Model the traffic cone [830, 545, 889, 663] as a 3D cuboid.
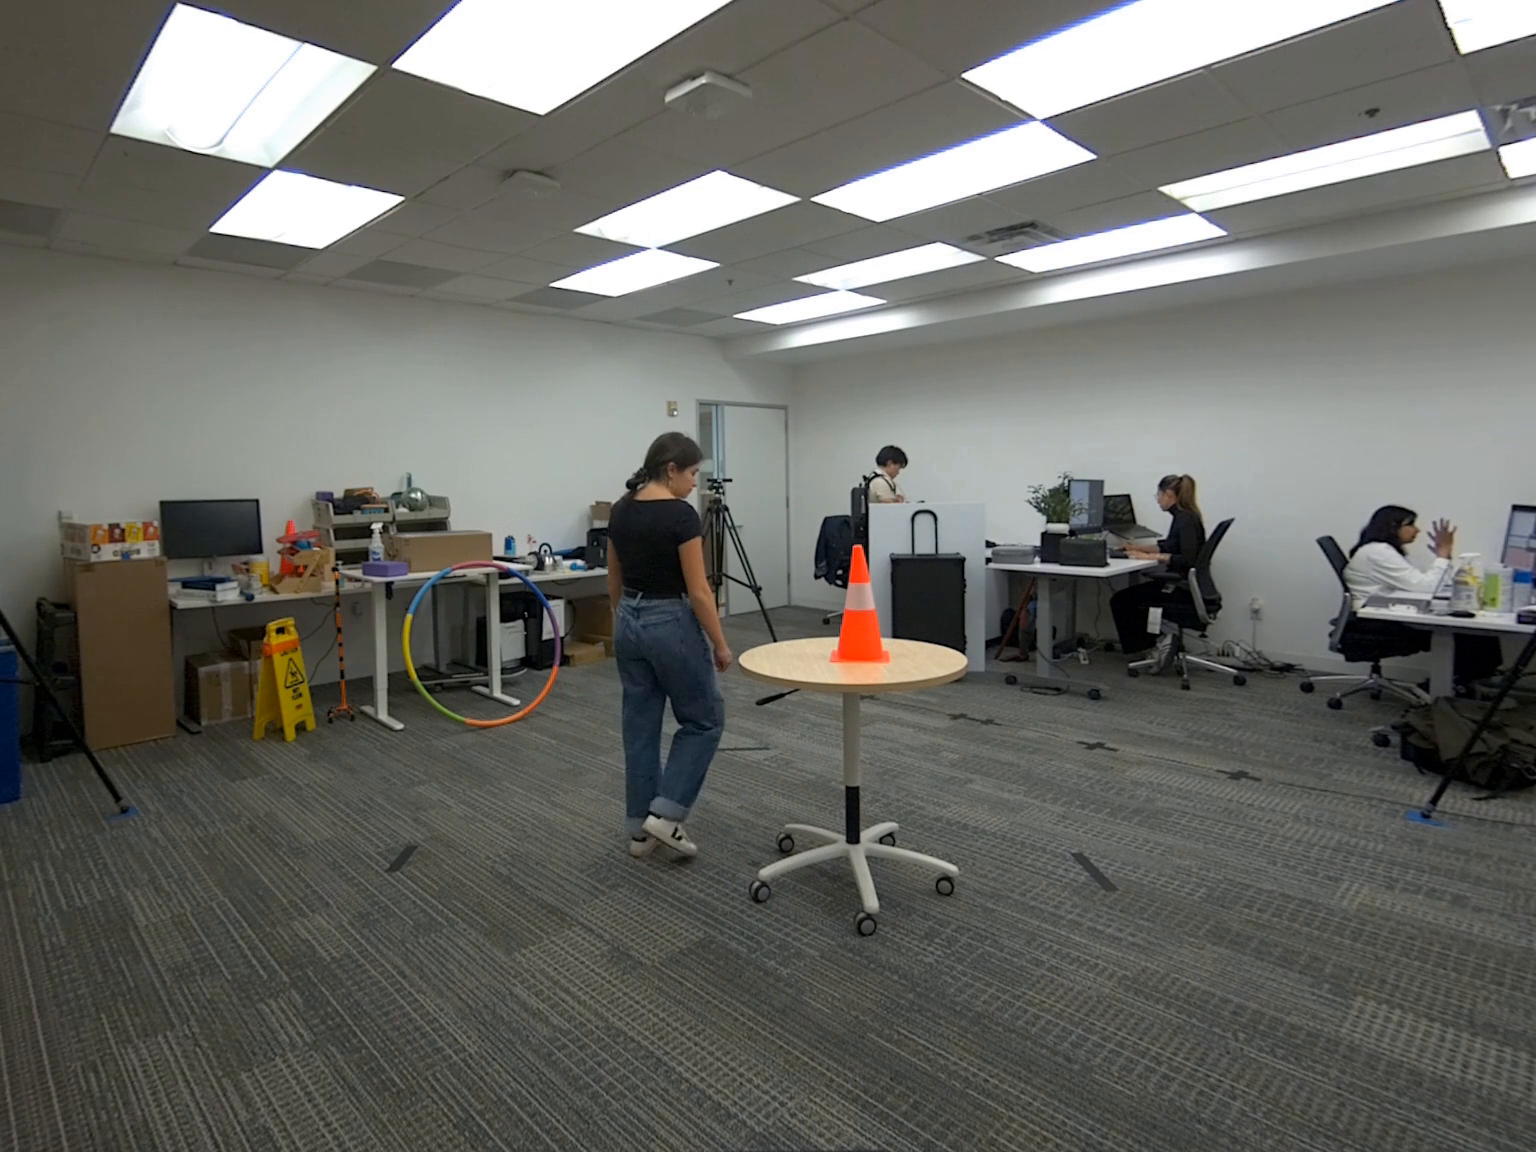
[{"bbox_3d":[0.310,0.091,2.910,0.204,0.382,0.205,-1,5,5],"label":"traffic cone"}]
